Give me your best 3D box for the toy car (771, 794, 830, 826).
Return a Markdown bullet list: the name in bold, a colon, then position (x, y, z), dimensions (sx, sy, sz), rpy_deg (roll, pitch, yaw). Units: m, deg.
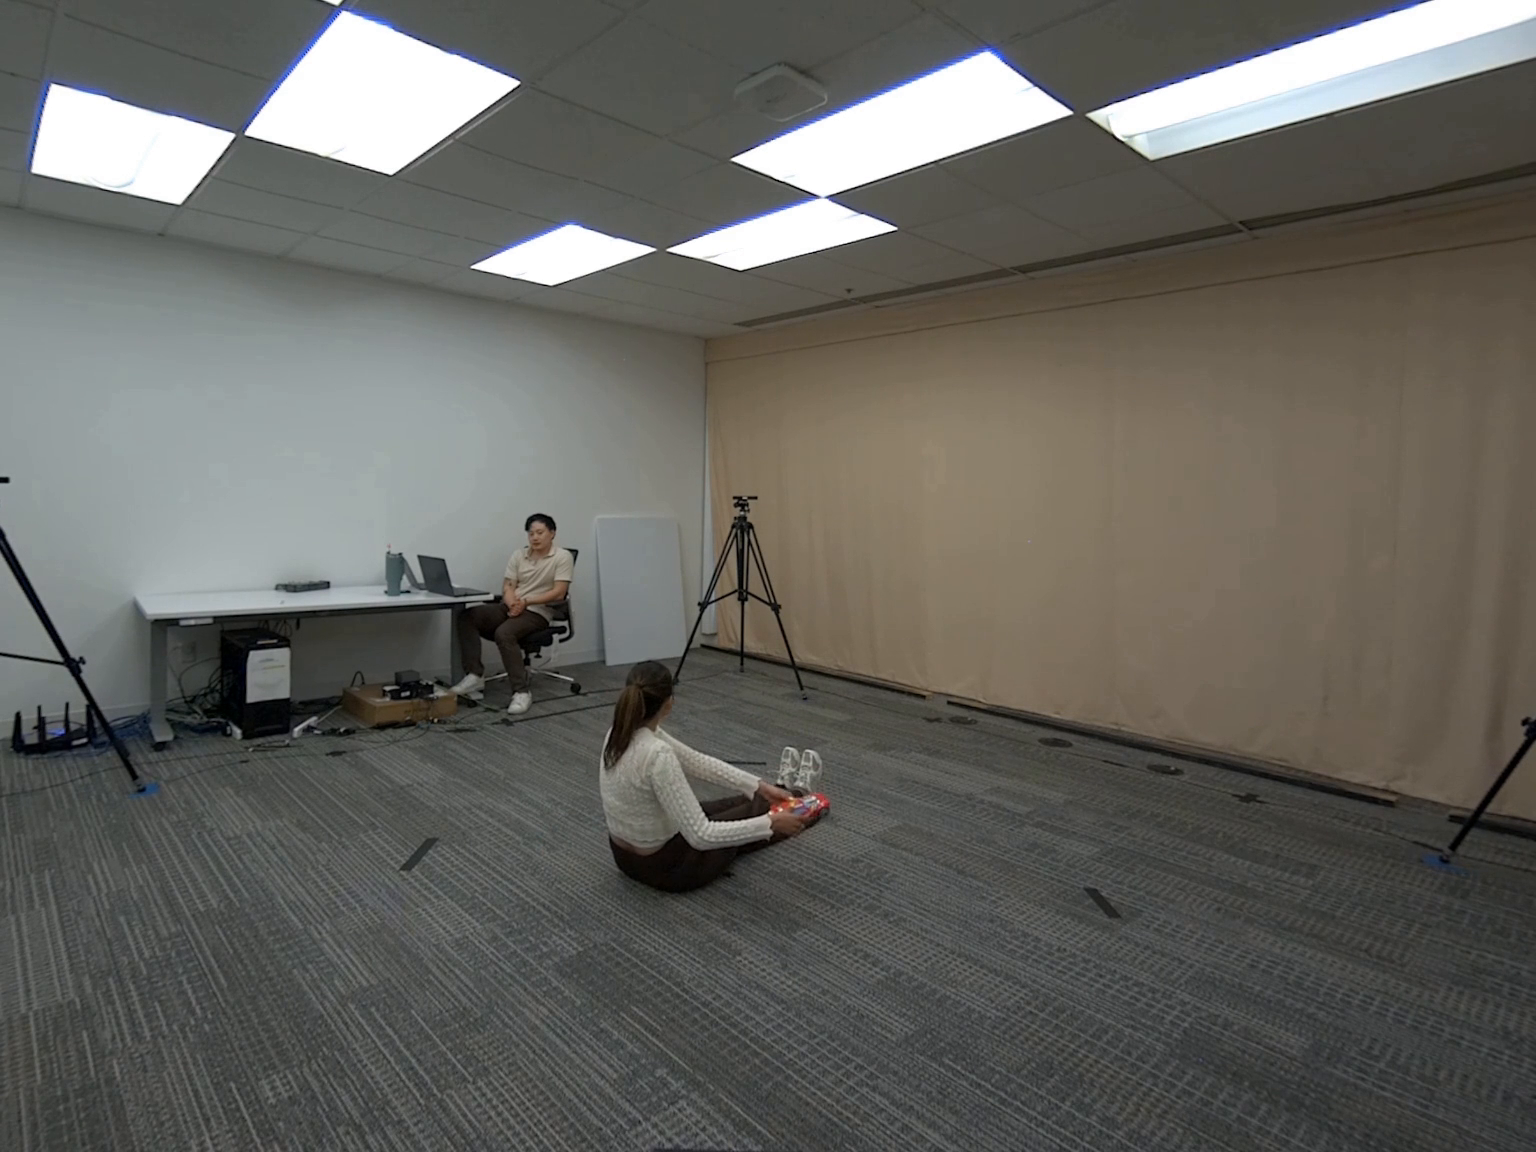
- **toy car**: position (0.078, 0.844, 2.961), dimensions (0.251, 0.082, 0.133), rpy_deg (-8, 12, -20)
